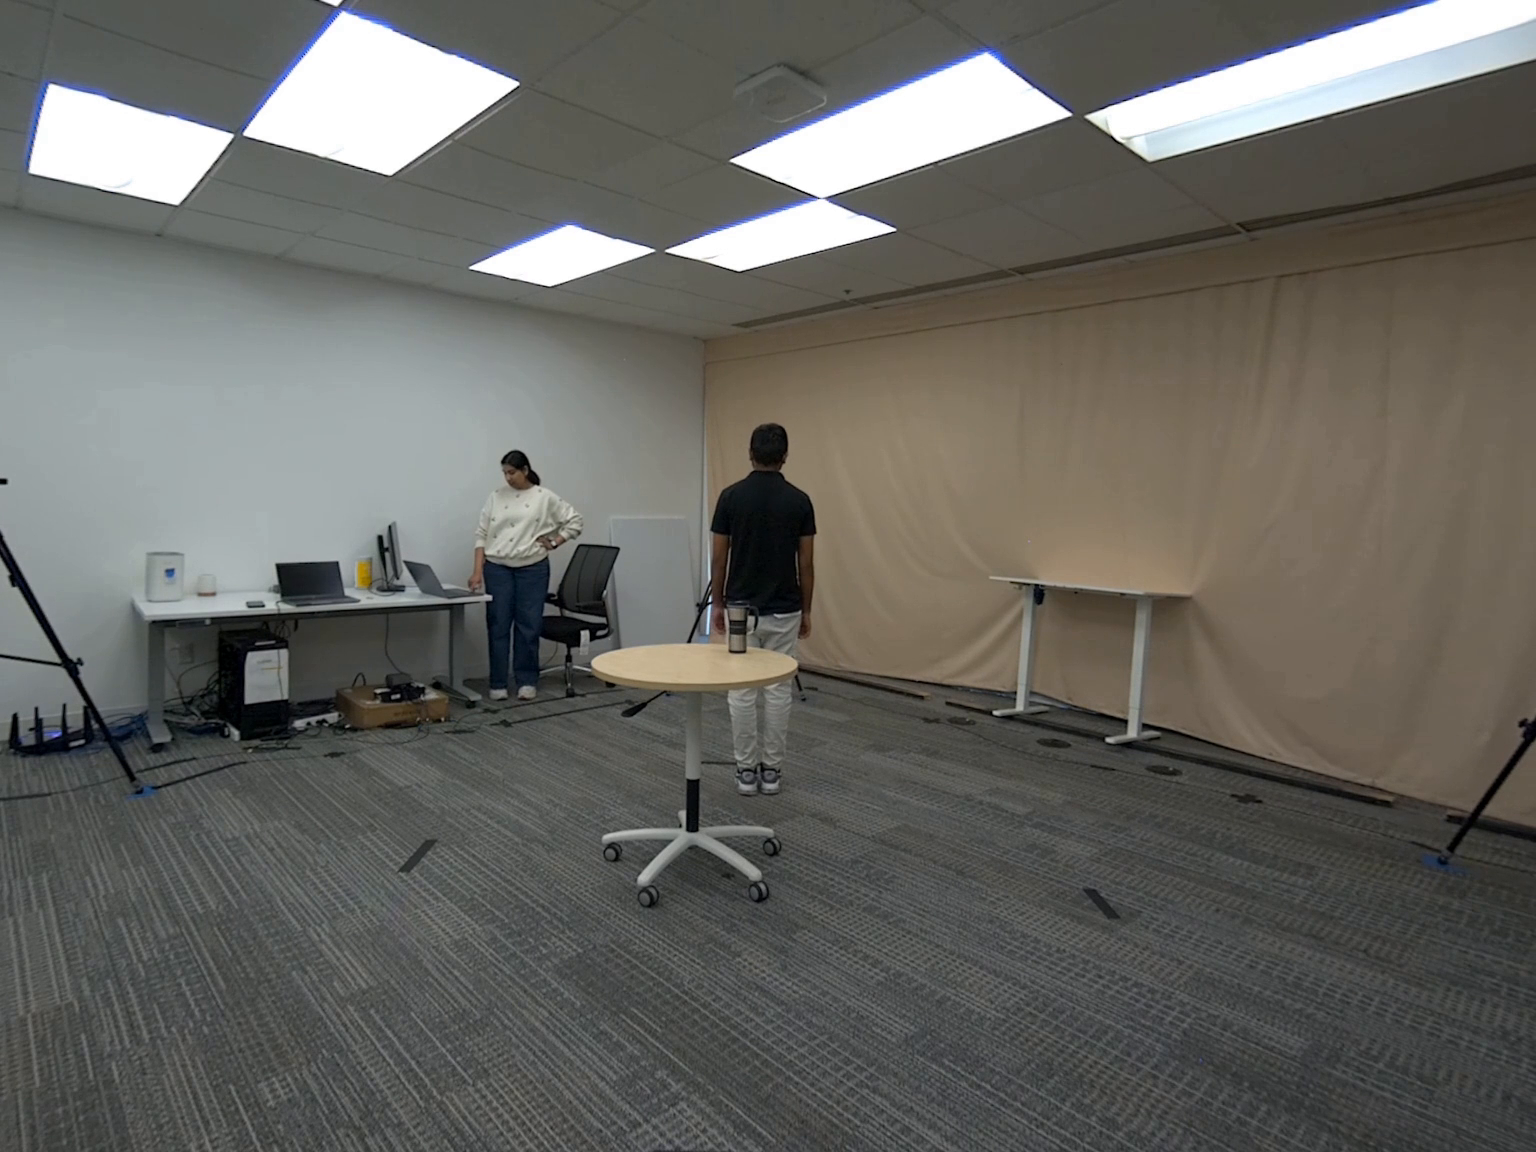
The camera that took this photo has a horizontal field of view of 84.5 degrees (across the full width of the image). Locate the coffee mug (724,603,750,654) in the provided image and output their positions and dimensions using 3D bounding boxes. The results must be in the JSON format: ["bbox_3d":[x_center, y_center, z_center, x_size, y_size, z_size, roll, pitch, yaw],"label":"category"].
[{"bbox_3d":[-0.113,0.204,3.314,0.124,0.203,0.086,-2,-1,31],"label":"coffee mug"}]
